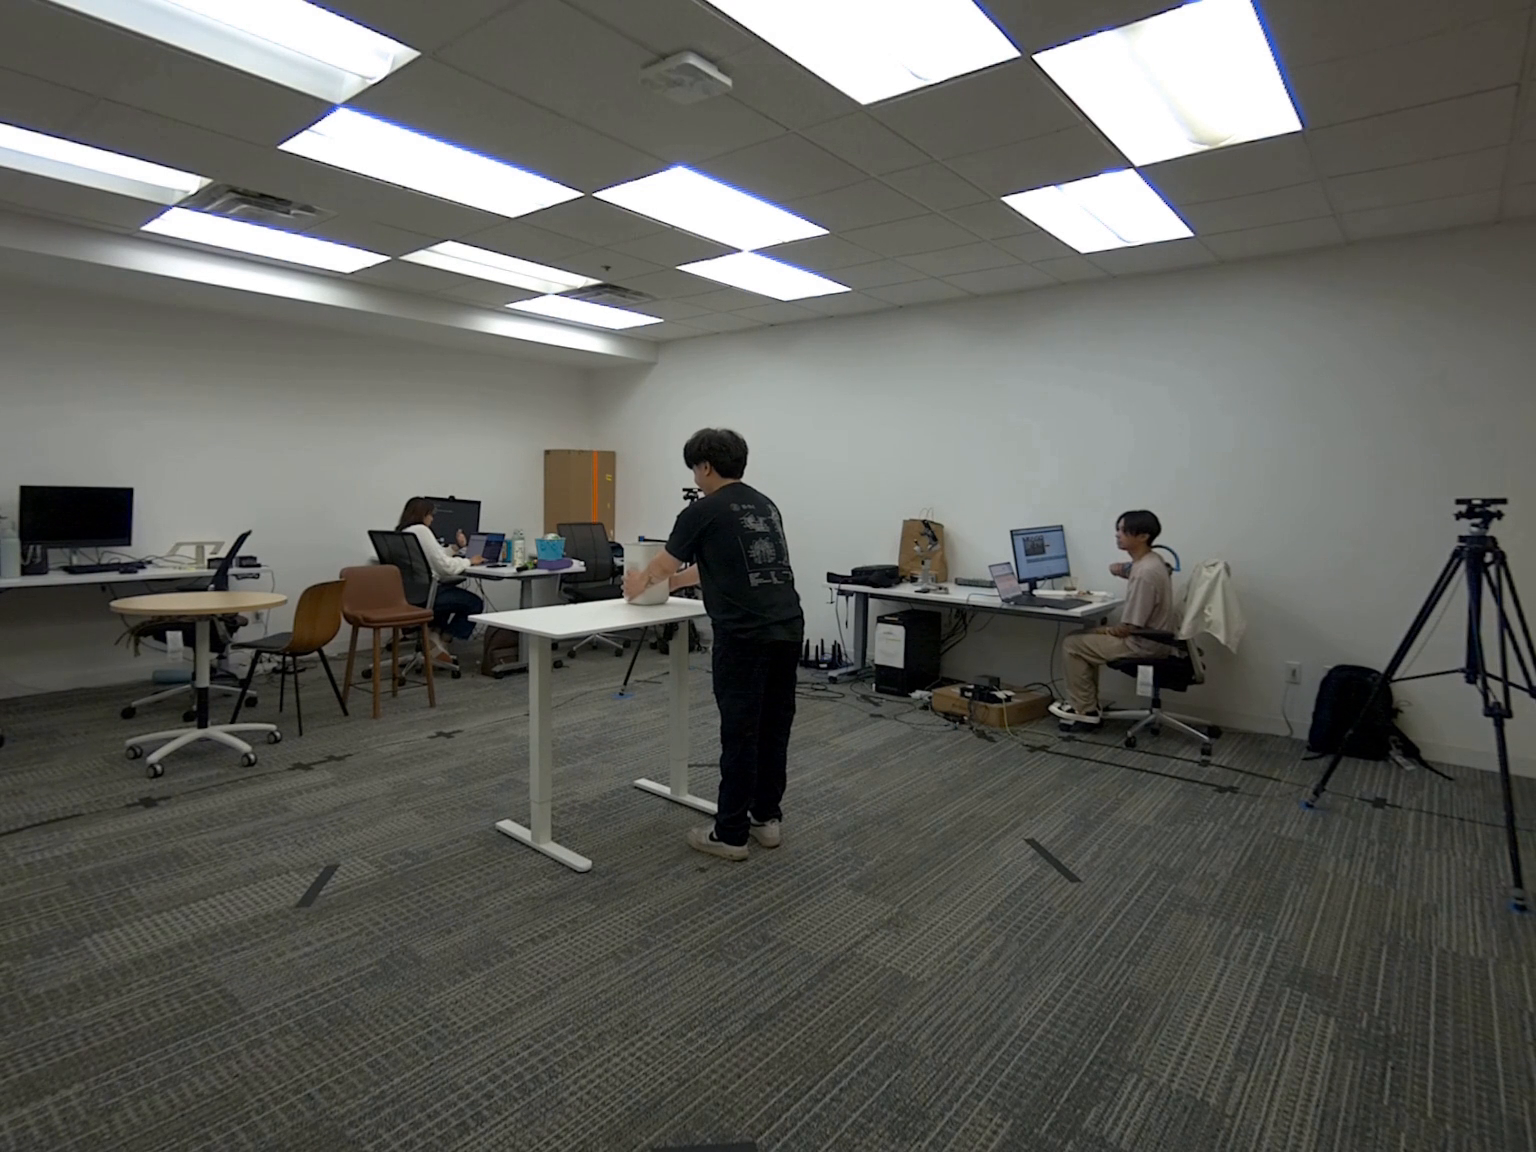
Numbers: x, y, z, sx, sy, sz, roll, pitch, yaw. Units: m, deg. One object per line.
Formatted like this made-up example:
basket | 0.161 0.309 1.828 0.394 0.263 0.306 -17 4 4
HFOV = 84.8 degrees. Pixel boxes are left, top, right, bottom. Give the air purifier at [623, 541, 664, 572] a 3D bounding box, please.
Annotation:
air purifier | -0.538 -0.015 3.752 0.177 0.265 0.166 3 4 42
